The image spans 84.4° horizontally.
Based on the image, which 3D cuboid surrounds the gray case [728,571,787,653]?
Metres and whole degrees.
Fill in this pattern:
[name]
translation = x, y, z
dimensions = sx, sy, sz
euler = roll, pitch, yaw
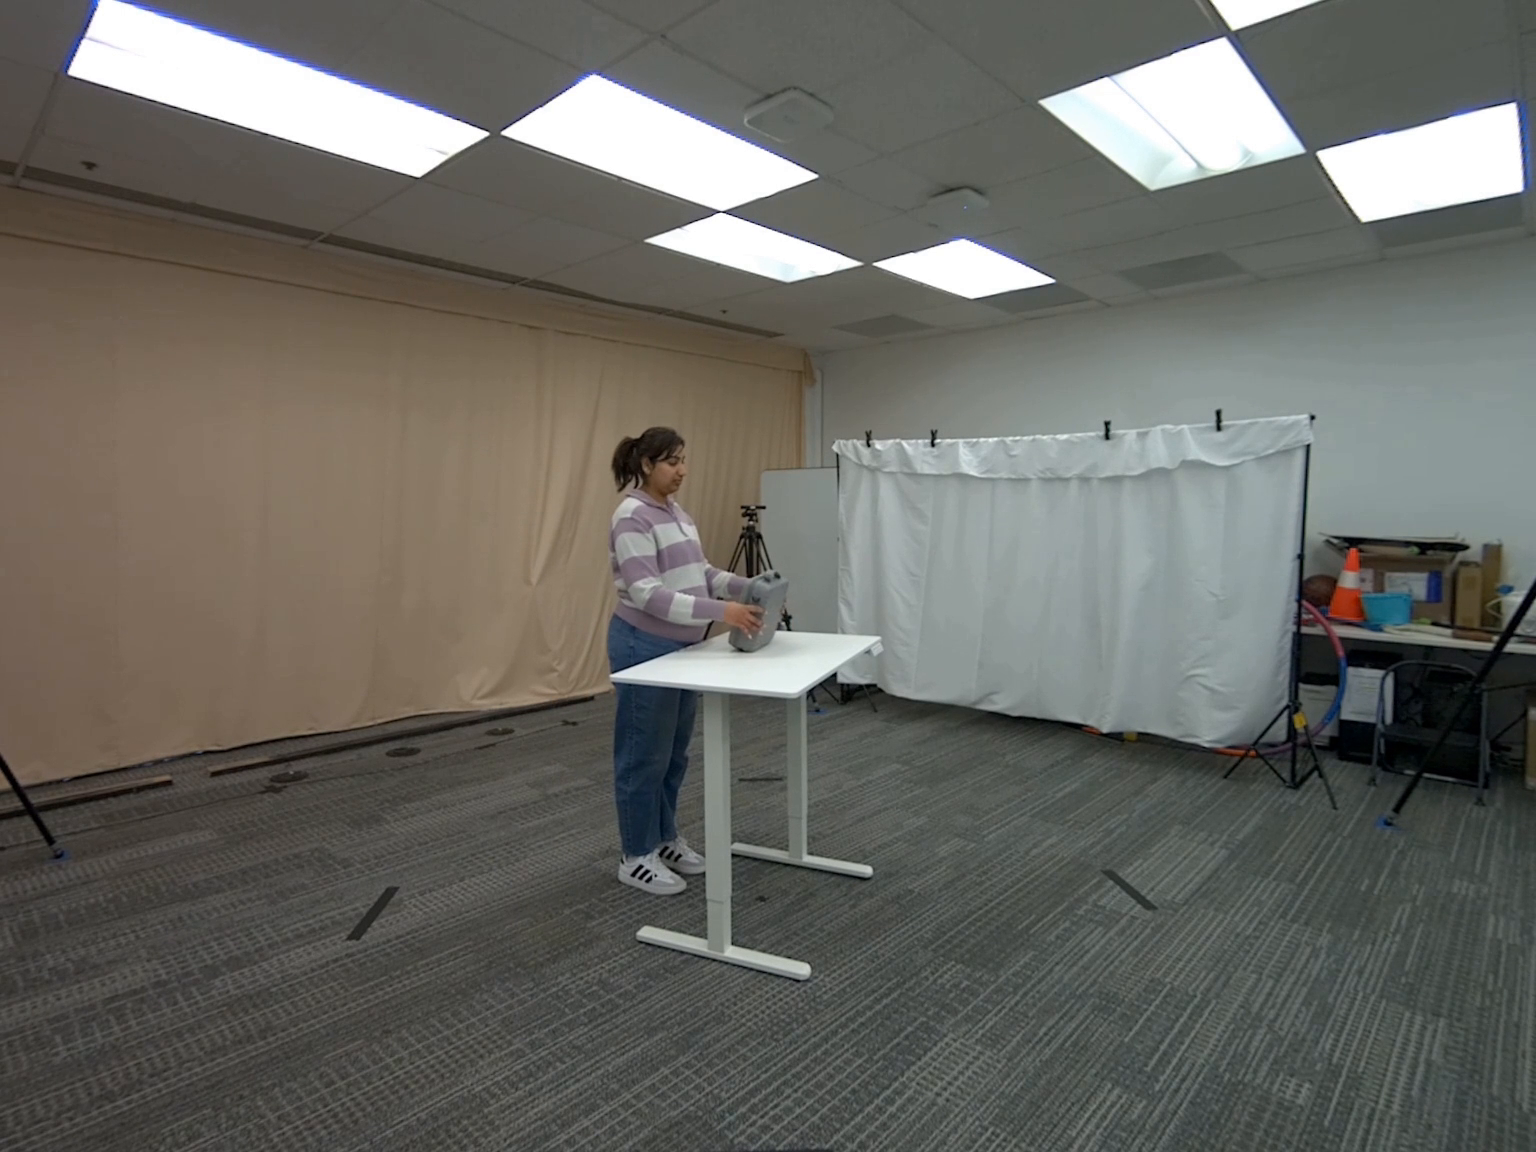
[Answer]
[gray case]
translation = -0.025, 0.125, 2.998
dimensions = 0.106, 0.259, 0.252
euler = 19, 13, 16
